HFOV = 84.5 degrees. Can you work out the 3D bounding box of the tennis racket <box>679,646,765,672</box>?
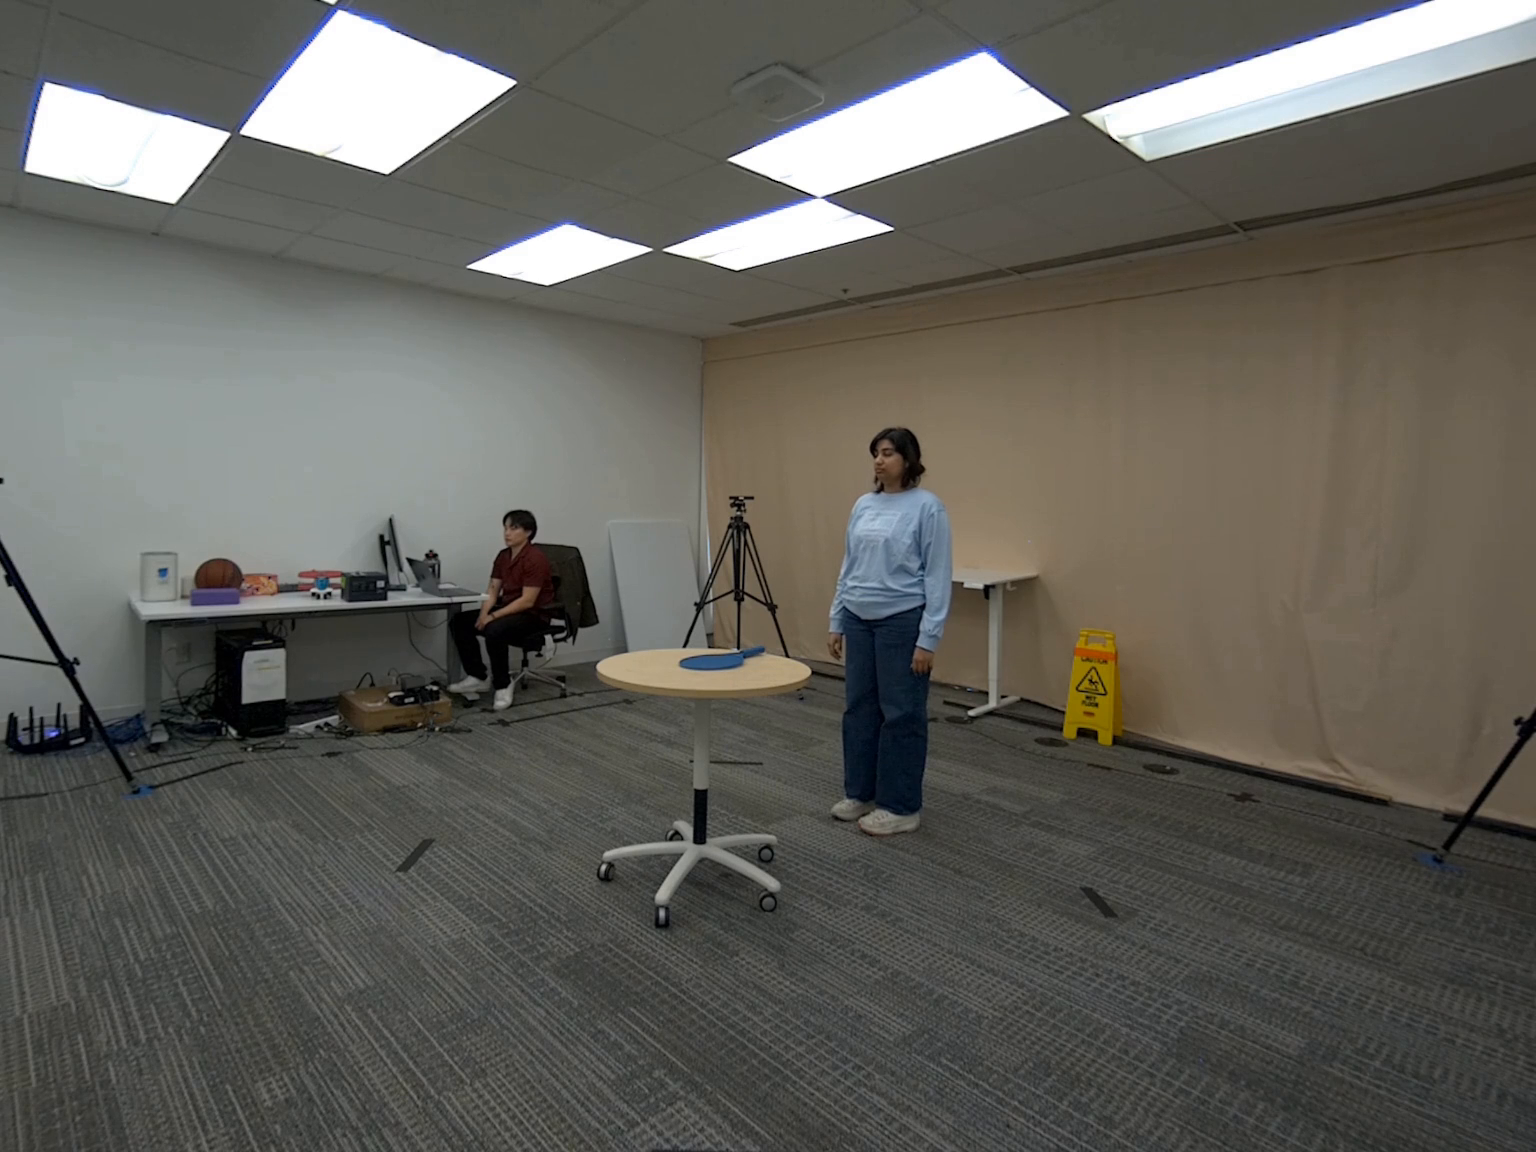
[{"bbox_3d":[-0.162,0.310,3.131,0.219,0.031,0.424,6,8,38],"label":"tennis racket"}]
